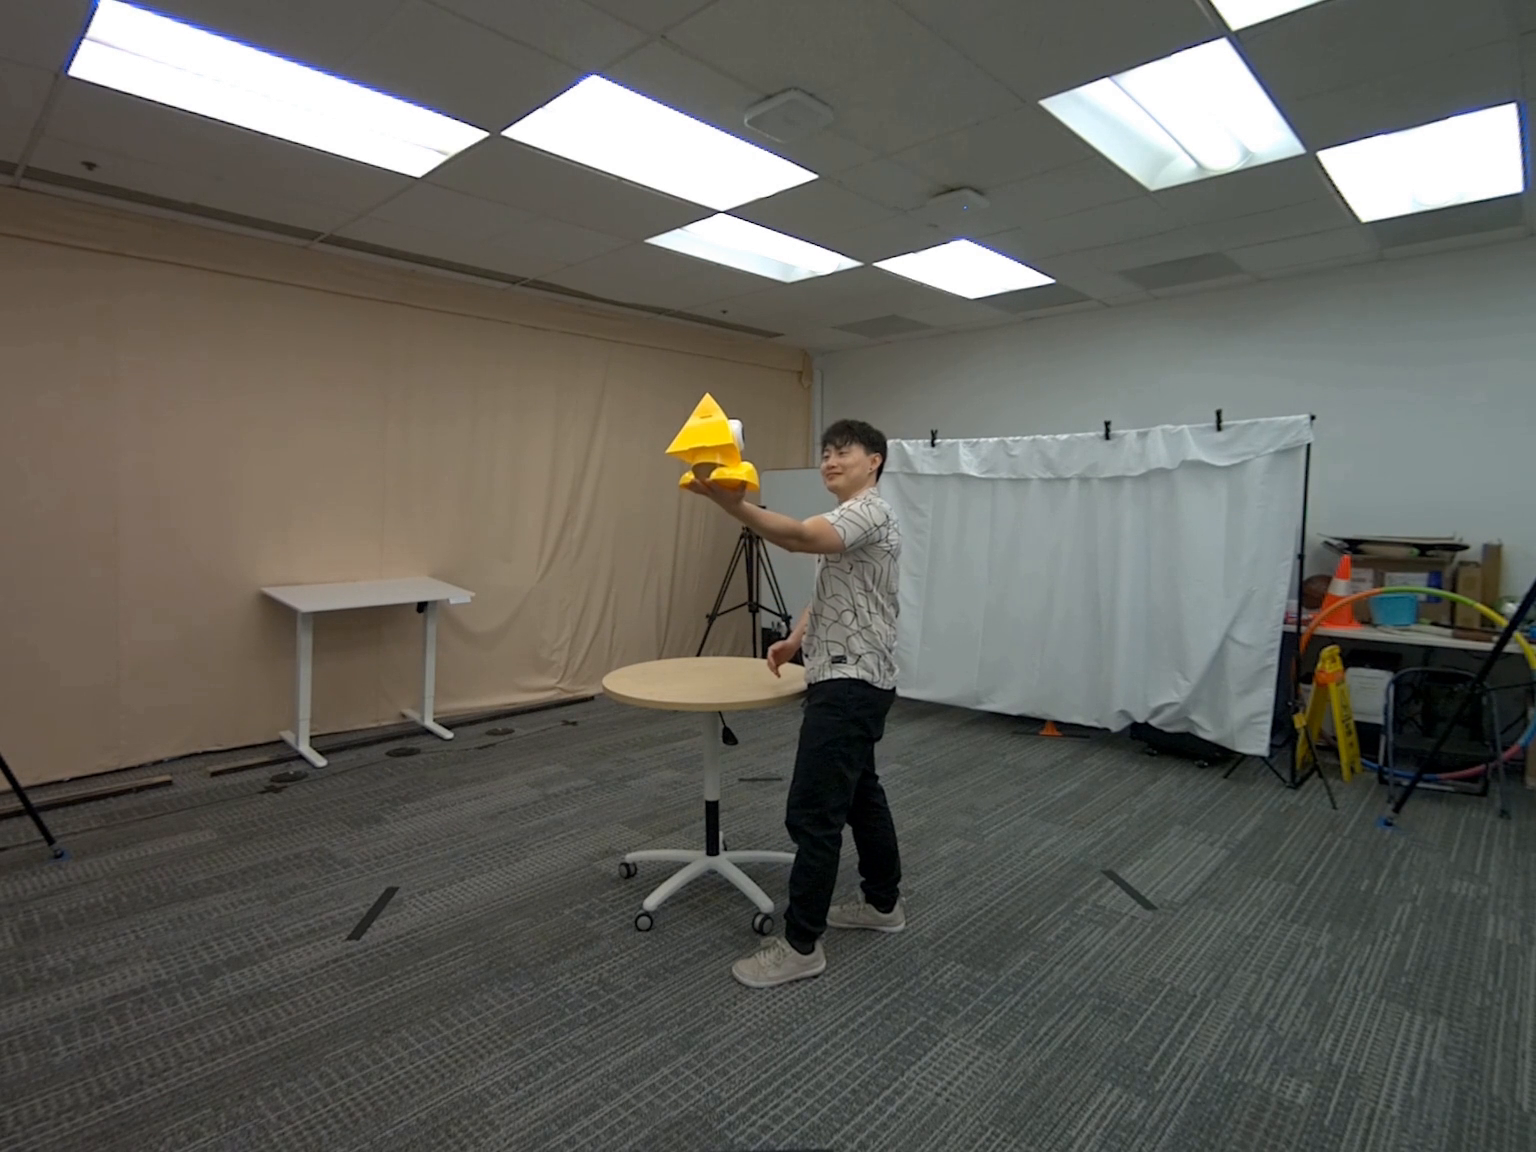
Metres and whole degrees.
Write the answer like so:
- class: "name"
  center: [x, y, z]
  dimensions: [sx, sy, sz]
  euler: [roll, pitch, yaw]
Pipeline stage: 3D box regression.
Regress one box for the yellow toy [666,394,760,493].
- class: "yellow toy"
  center: [-0.125, -0.344, 2.167]
  dimensions: [0.210, 0.232, 0.187]
  euler: [-3, -9, 32]
